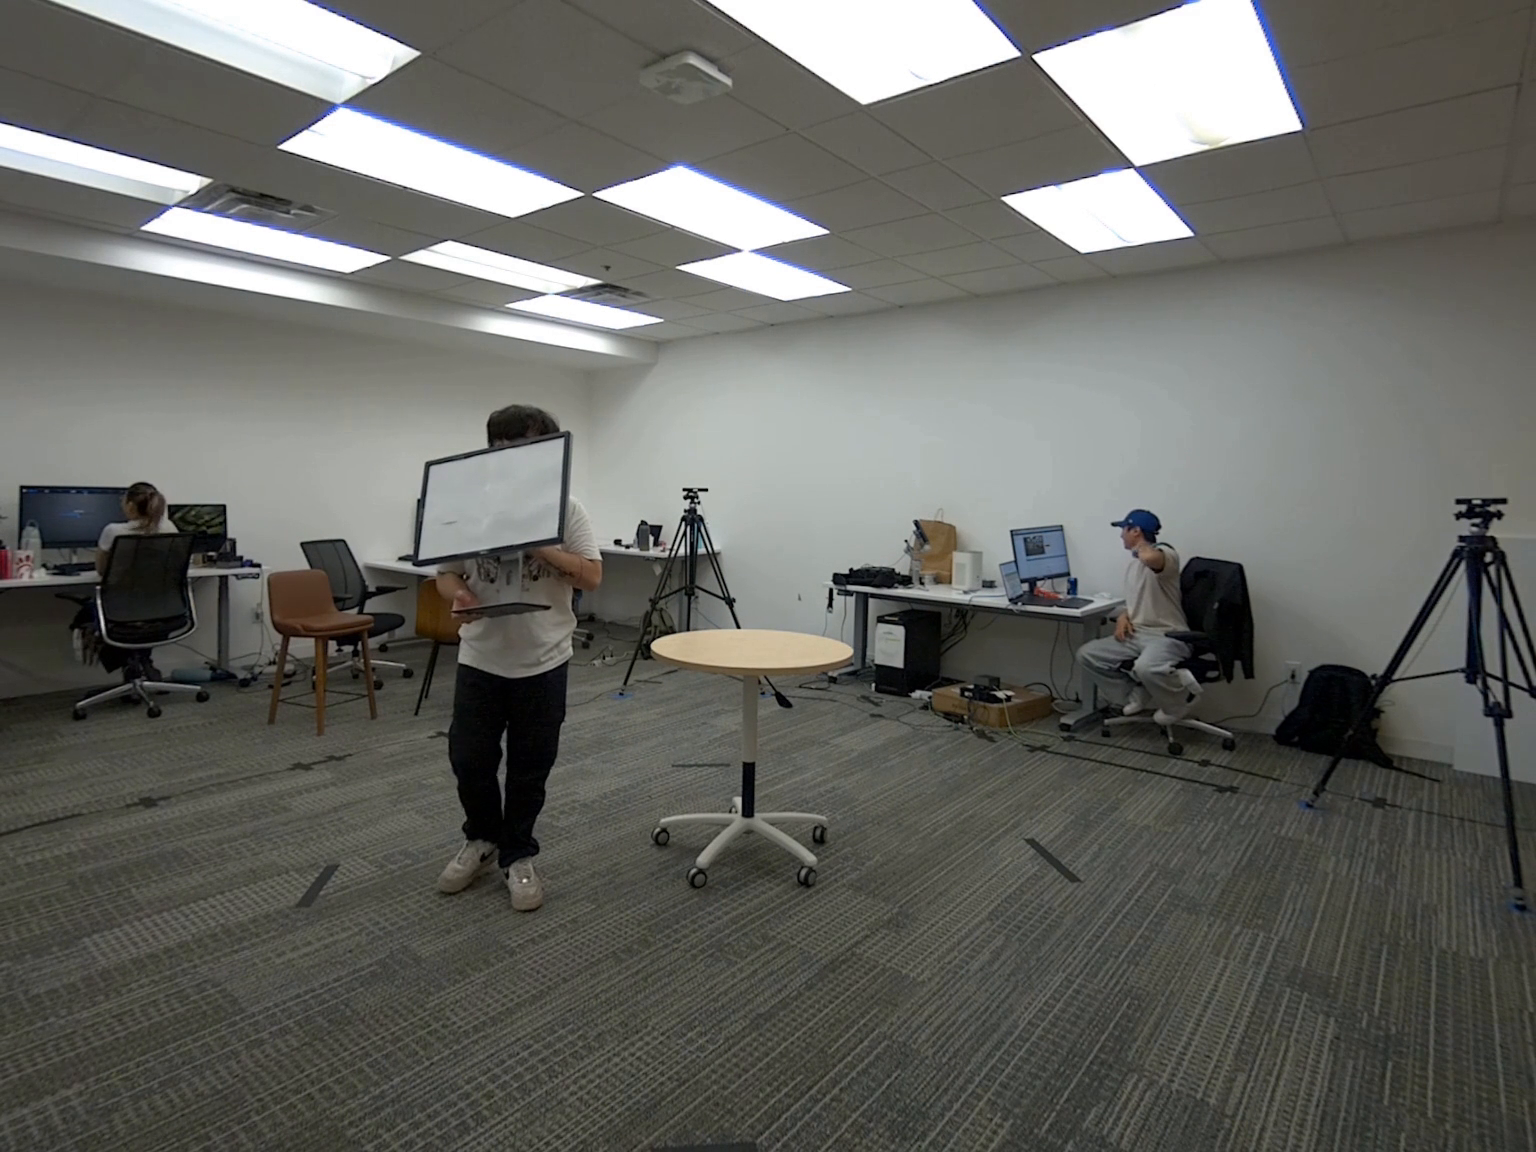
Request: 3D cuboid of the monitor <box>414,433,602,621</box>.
[{"bbox_3d":[-0.851,-0.141,2.690,0.576,0.562,0.203,-9,-15,21],"label":"monitor"}]
